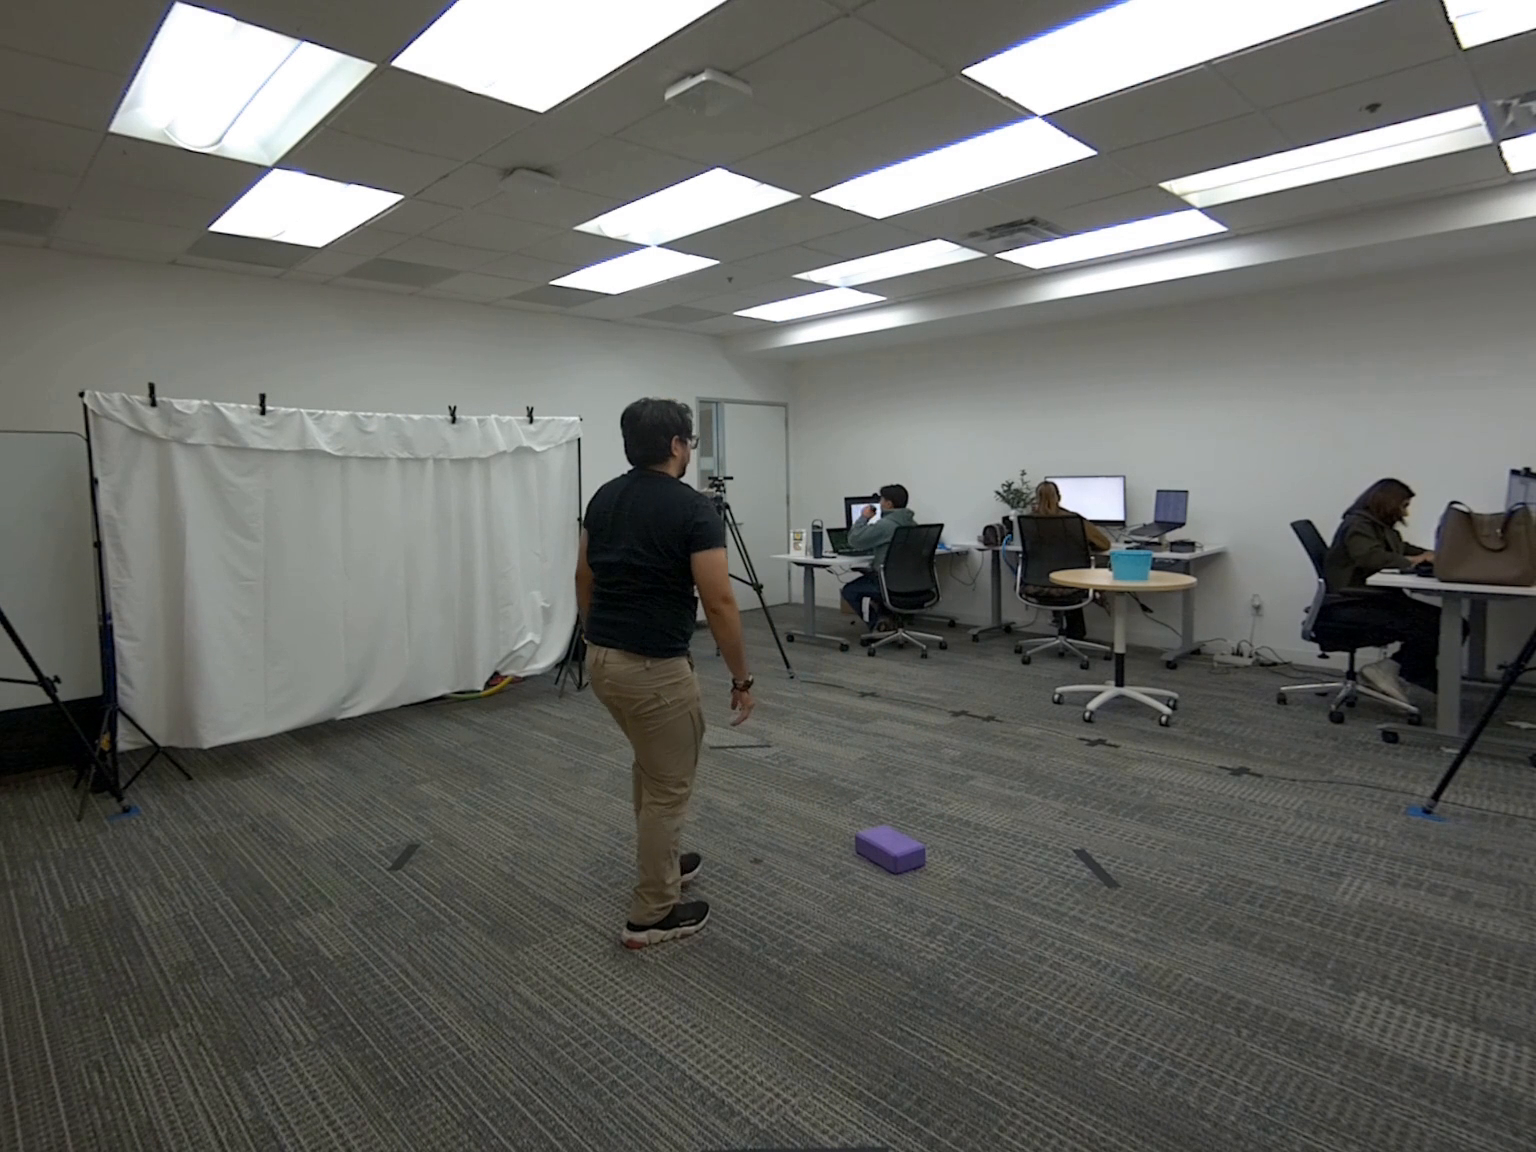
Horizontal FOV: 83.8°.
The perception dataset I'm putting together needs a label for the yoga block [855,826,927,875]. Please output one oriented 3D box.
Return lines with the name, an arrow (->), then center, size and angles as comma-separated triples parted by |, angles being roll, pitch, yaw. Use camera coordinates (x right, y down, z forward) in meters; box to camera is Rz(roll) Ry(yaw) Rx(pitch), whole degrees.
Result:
yoga block -> 0.445, 0.986, 3.099 | 0.145, 0.076, 0.236 | -5, 8, -31
